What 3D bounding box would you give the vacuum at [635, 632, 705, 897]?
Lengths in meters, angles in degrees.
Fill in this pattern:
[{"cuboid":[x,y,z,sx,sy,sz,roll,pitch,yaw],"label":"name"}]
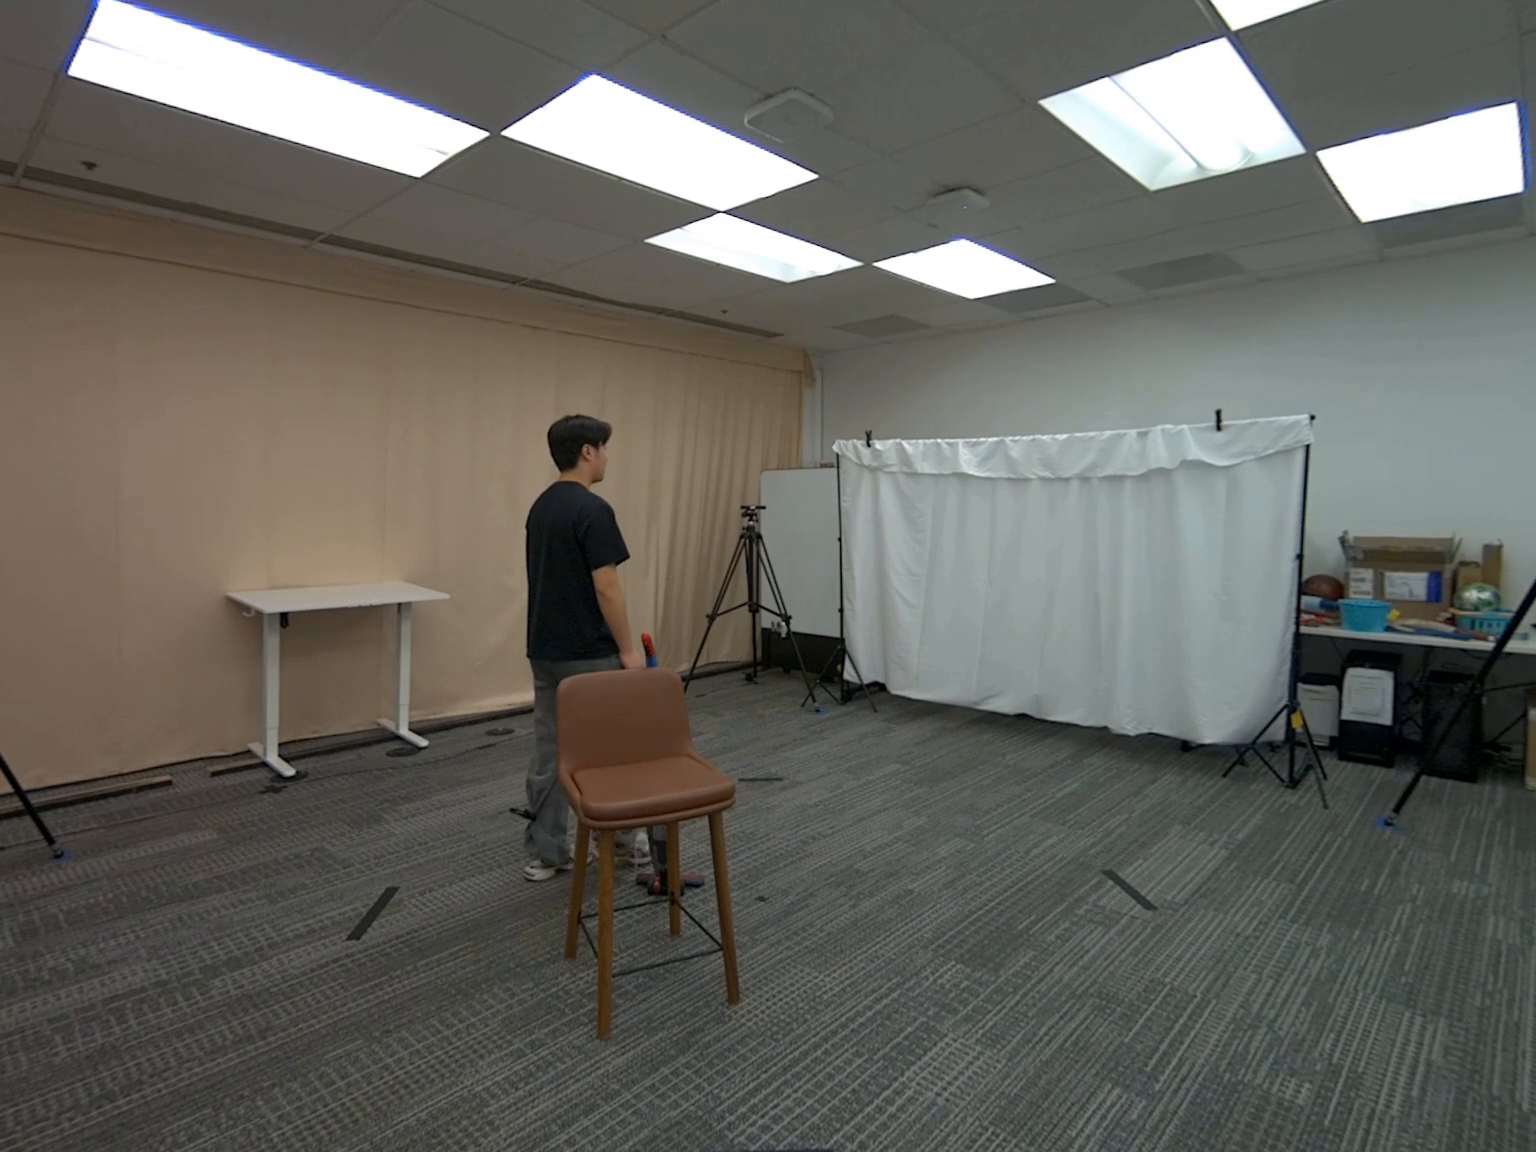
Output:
[{"cuboid":[-0.375,0.658,2.859,0.253,1.034,0.146,-2,23,0],"label":"vacuum"}]
